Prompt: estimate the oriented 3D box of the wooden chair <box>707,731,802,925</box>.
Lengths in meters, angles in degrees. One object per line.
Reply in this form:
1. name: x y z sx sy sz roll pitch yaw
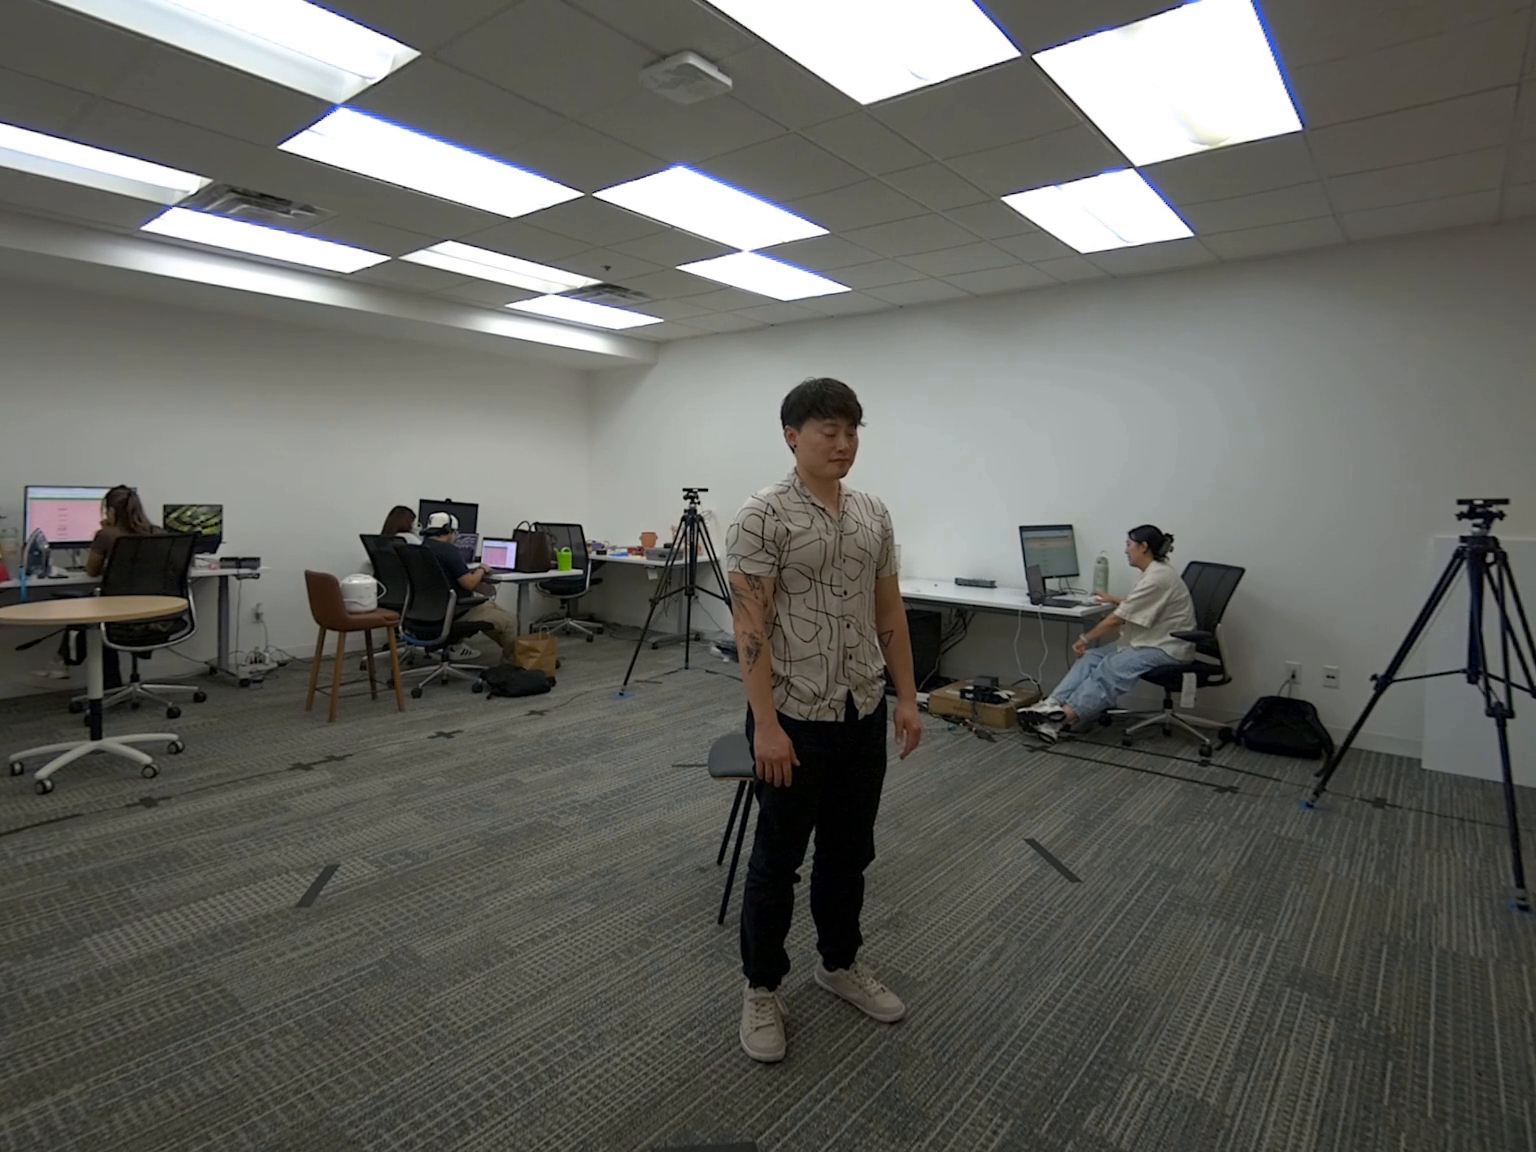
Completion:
1. wooden chair: 0.048 0.667 2.907 0.522 0.875 0.480 6 4 -2
